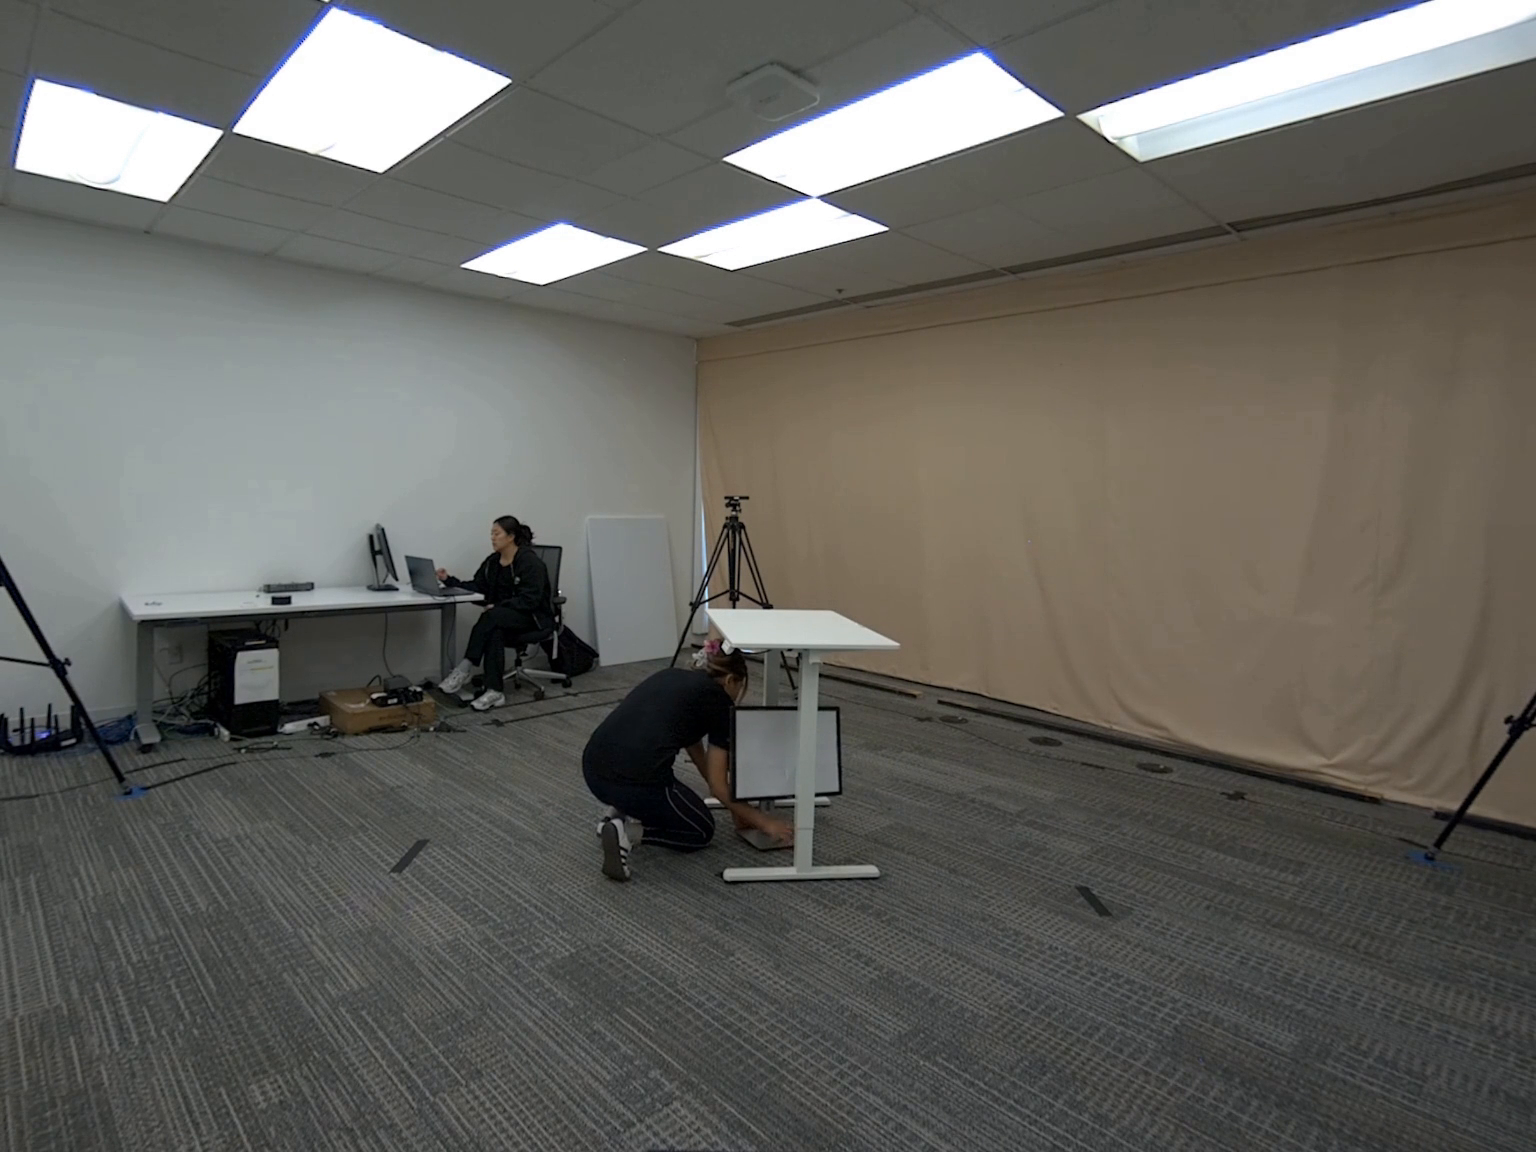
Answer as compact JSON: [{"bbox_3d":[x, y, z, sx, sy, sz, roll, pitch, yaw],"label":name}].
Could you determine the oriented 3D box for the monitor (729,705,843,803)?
[{"bbox_3d":[0.041,0.795,3.434,0.526,0.523,0.191,7,-1,-35],"label":"monitor"}]
